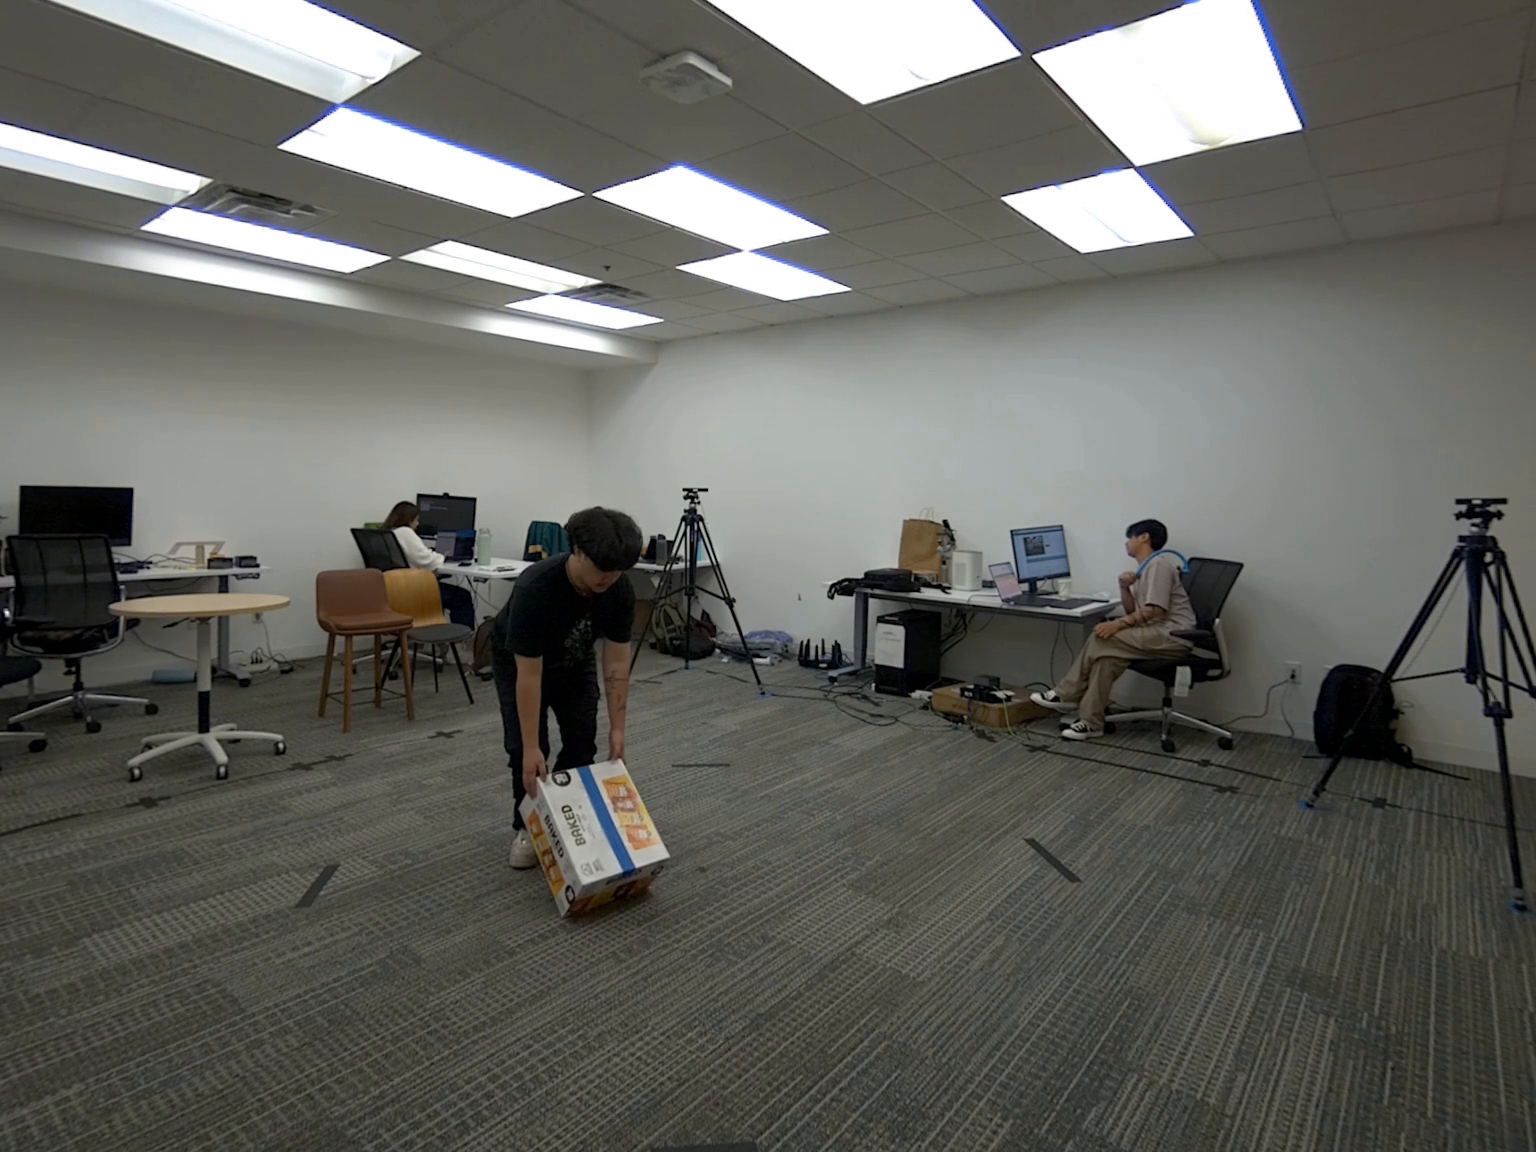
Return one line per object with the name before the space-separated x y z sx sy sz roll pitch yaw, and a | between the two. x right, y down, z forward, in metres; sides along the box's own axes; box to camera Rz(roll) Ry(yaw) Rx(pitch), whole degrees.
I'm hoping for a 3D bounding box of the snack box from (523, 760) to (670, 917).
snack box | -0.607 0.877 2.896 0.330 0.204 0.421 -3 46 -41
